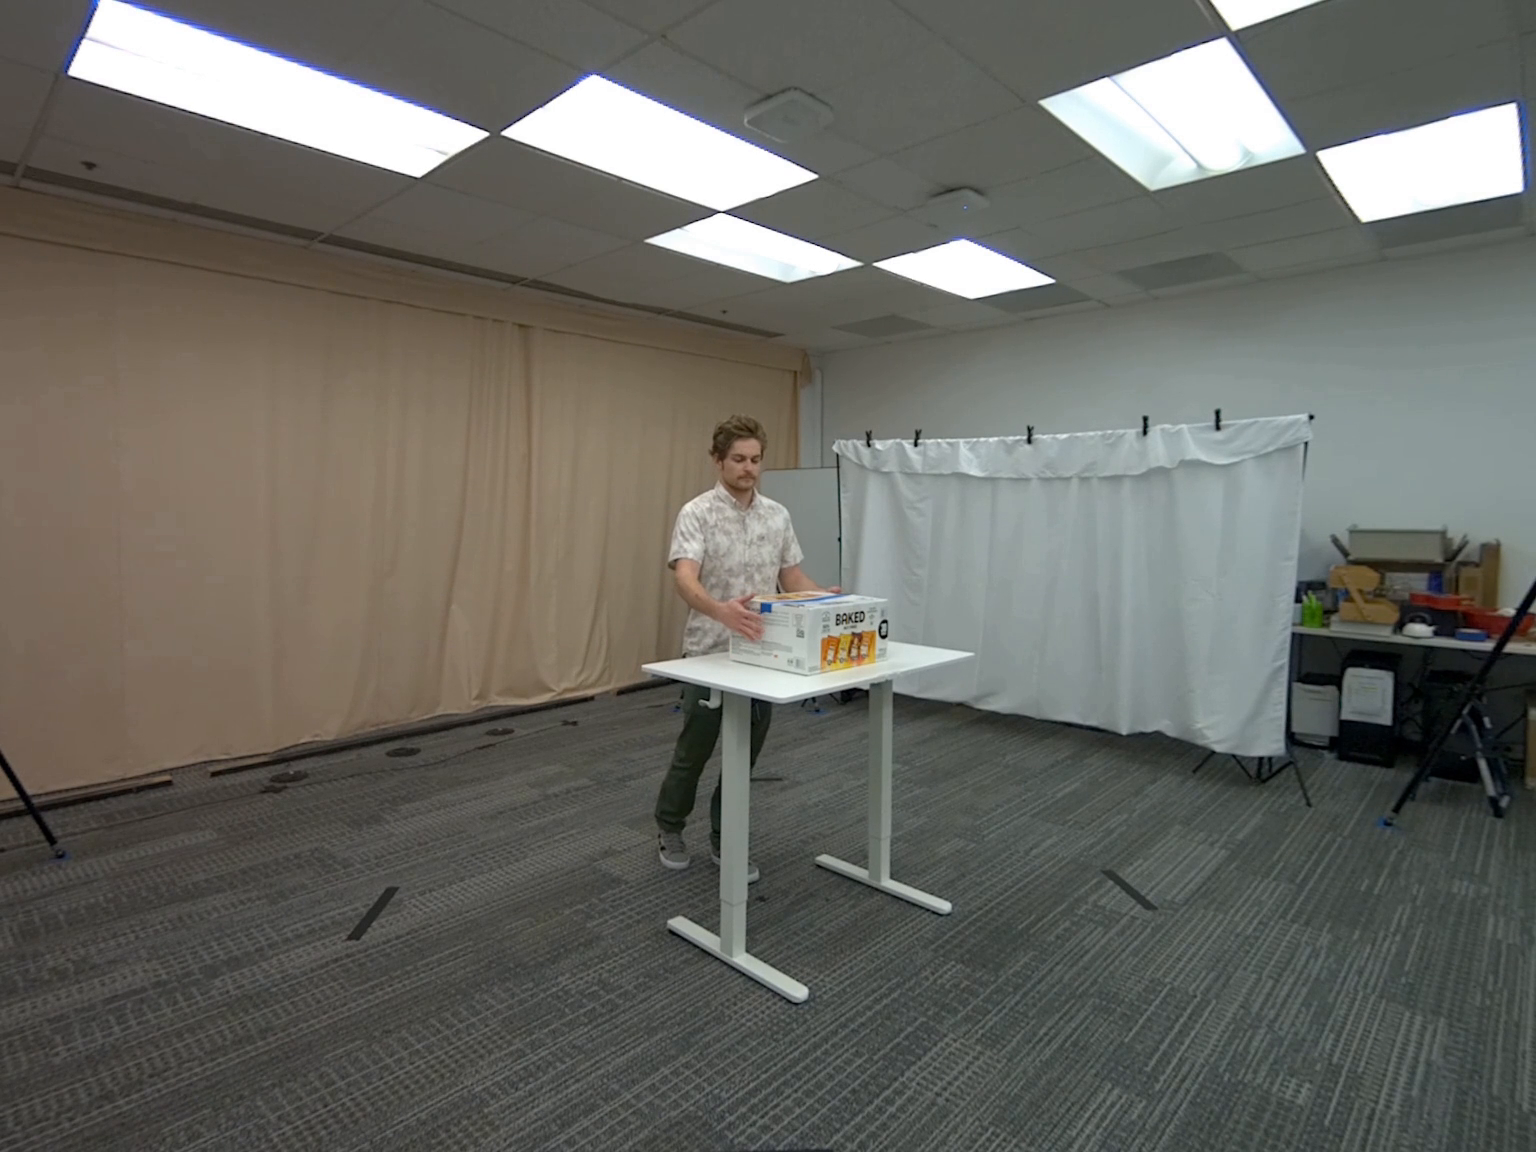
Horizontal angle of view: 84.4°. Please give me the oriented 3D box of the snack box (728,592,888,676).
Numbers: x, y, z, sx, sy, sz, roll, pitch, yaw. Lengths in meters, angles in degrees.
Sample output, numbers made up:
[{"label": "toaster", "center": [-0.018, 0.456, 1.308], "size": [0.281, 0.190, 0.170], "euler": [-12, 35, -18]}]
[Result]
[{"label": "snack box", "center": [0.140, 0.177, 2.751], "size": [0.392, 0.205, 0.352], "euler": [-3, 5, -45]}]
